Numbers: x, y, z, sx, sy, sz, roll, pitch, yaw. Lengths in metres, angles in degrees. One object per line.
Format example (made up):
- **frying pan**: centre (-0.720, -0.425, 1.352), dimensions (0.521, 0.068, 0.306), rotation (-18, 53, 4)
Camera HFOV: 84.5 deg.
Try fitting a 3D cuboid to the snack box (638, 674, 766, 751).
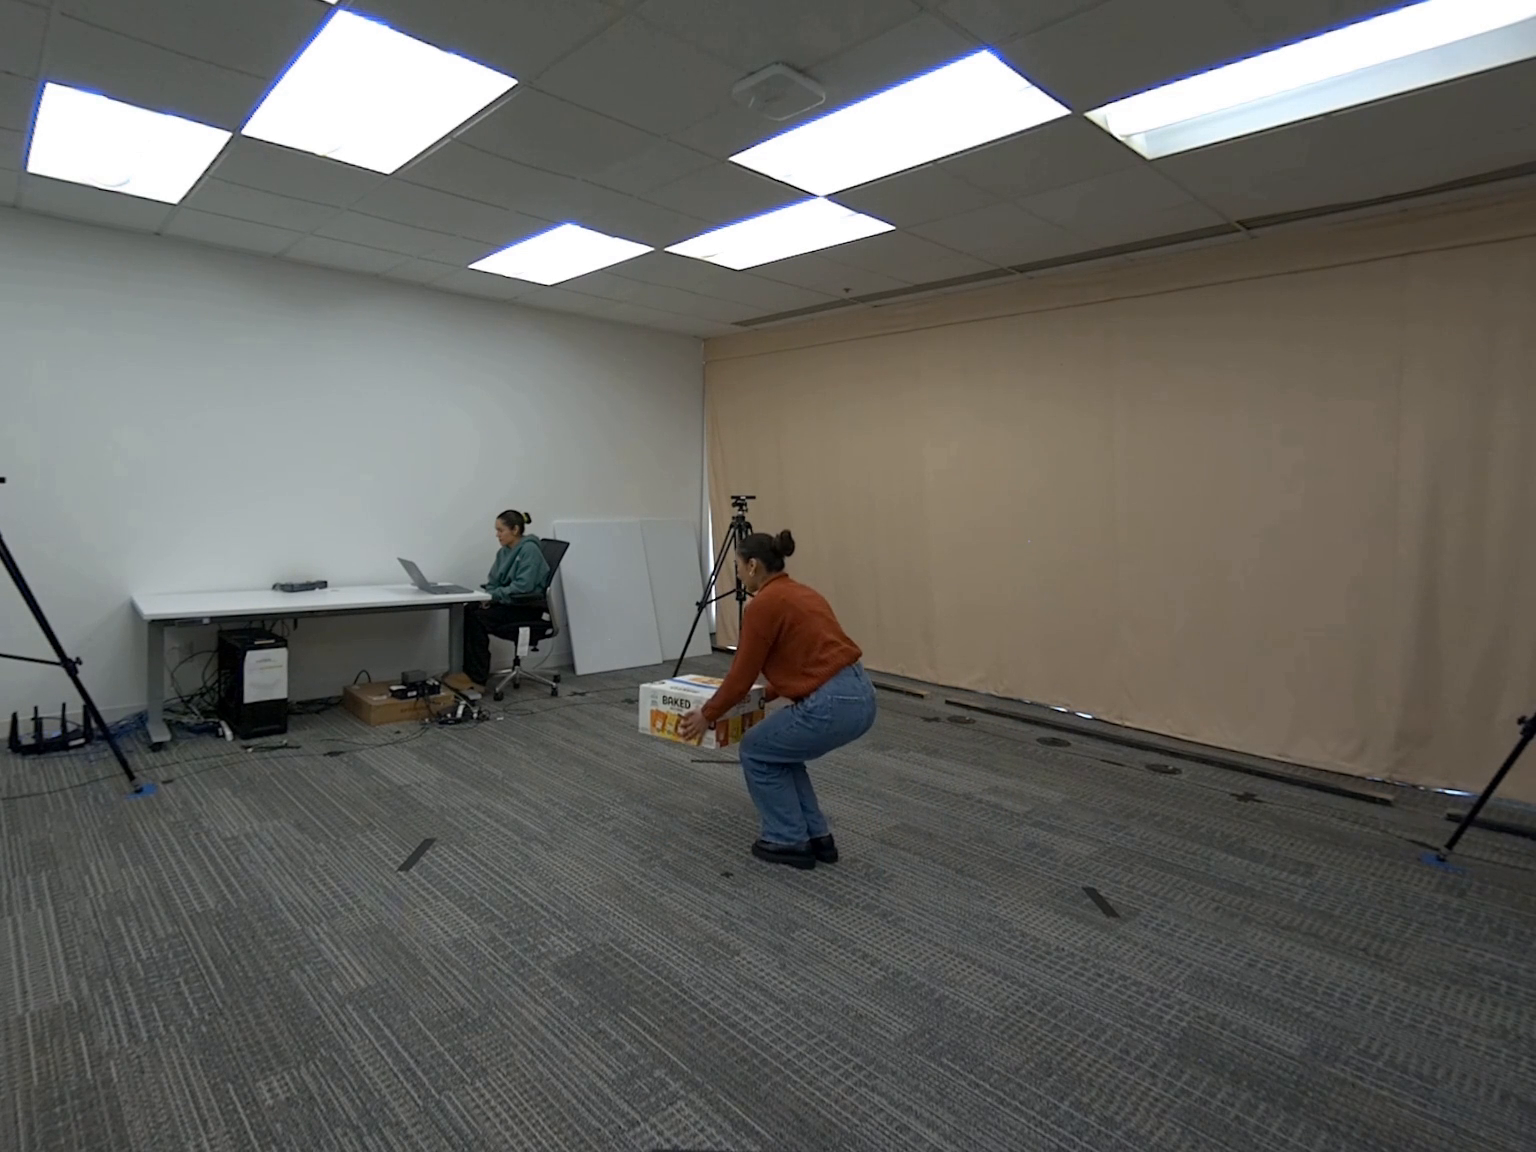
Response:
- **snack box**: centre (-0.282, 0.571, 3.530), dimensions (0.415, 0.205, 0.333), rotation (3, 3, 35)
